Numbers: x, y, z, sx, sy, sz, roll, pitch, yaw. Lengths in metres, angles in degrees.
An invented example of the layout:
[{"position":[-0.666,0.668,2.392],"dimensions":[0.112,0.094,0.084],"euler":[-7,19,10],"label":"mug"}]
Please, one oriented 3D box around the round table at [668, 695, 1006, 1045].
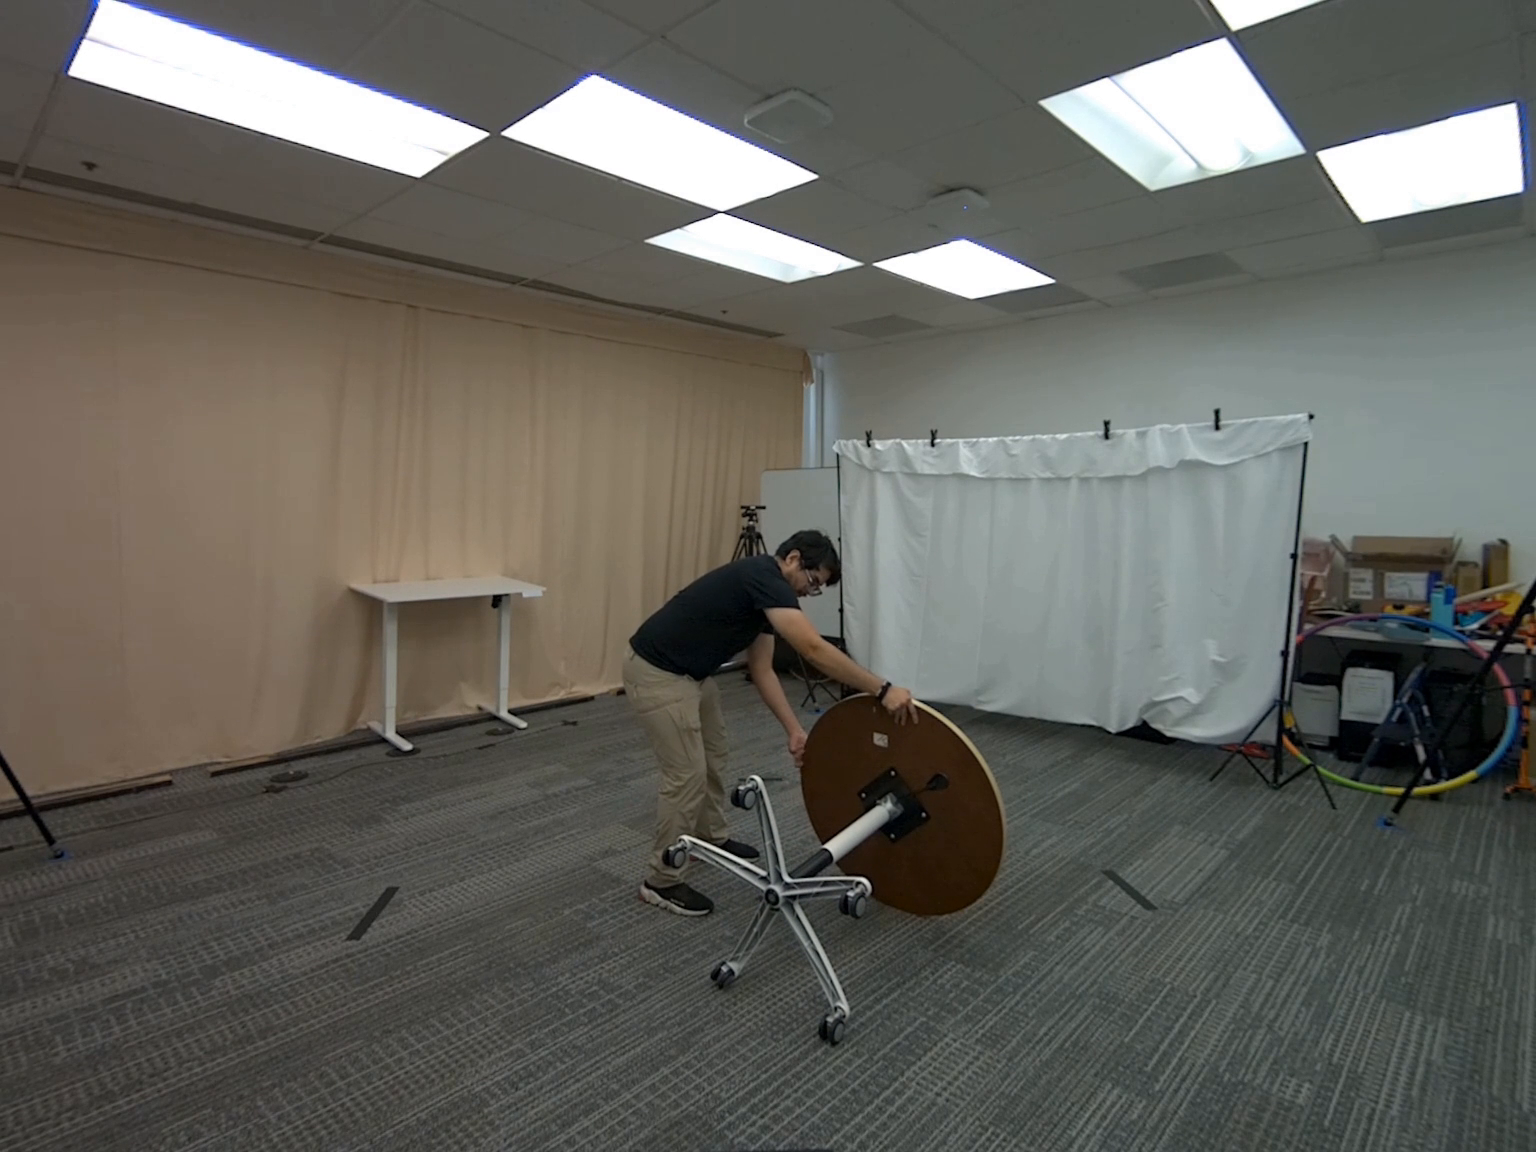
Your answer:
[{"position":[0.211,0.832,2.564],"dimensions":[0.811,0.780,0.766],"euler":[3,11,38],"label":"round table"}]
